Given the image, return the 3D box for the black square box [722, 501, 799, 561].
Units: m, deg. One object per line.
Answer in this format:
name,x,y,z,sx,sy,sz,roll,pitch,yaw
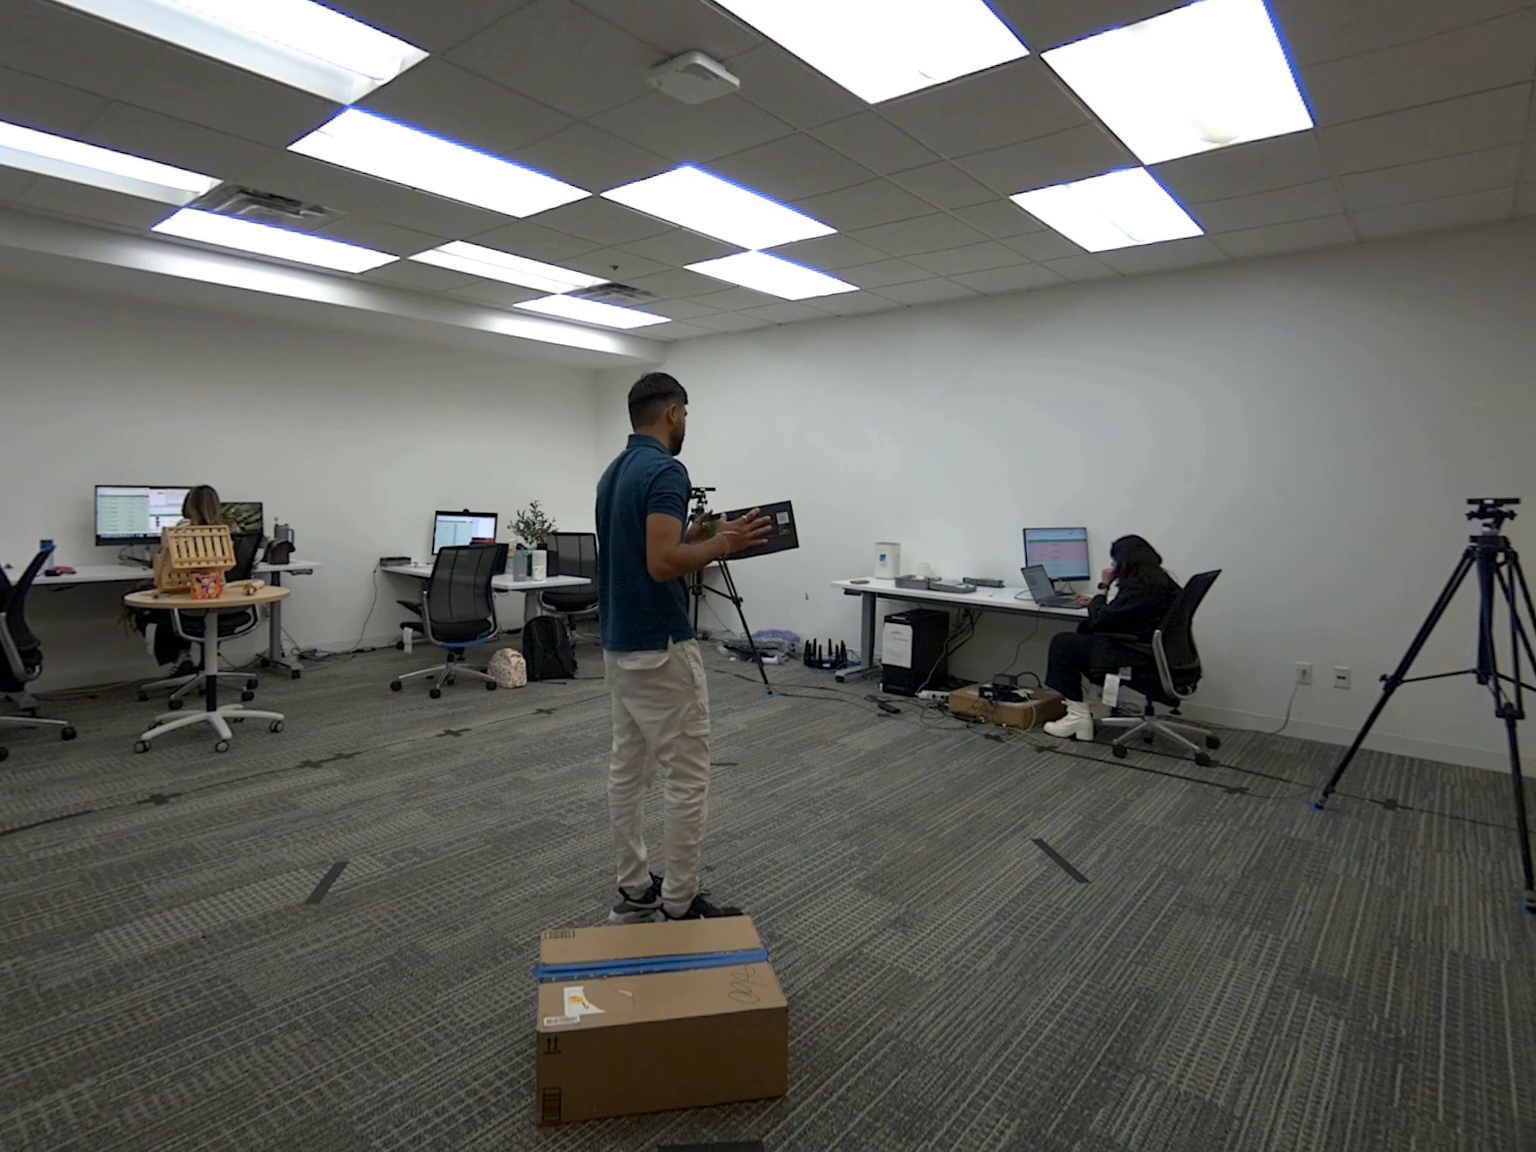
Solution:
black square box,-0.053,-0.151,2.791,0.215,0.155,0.231,-10,5,-12
